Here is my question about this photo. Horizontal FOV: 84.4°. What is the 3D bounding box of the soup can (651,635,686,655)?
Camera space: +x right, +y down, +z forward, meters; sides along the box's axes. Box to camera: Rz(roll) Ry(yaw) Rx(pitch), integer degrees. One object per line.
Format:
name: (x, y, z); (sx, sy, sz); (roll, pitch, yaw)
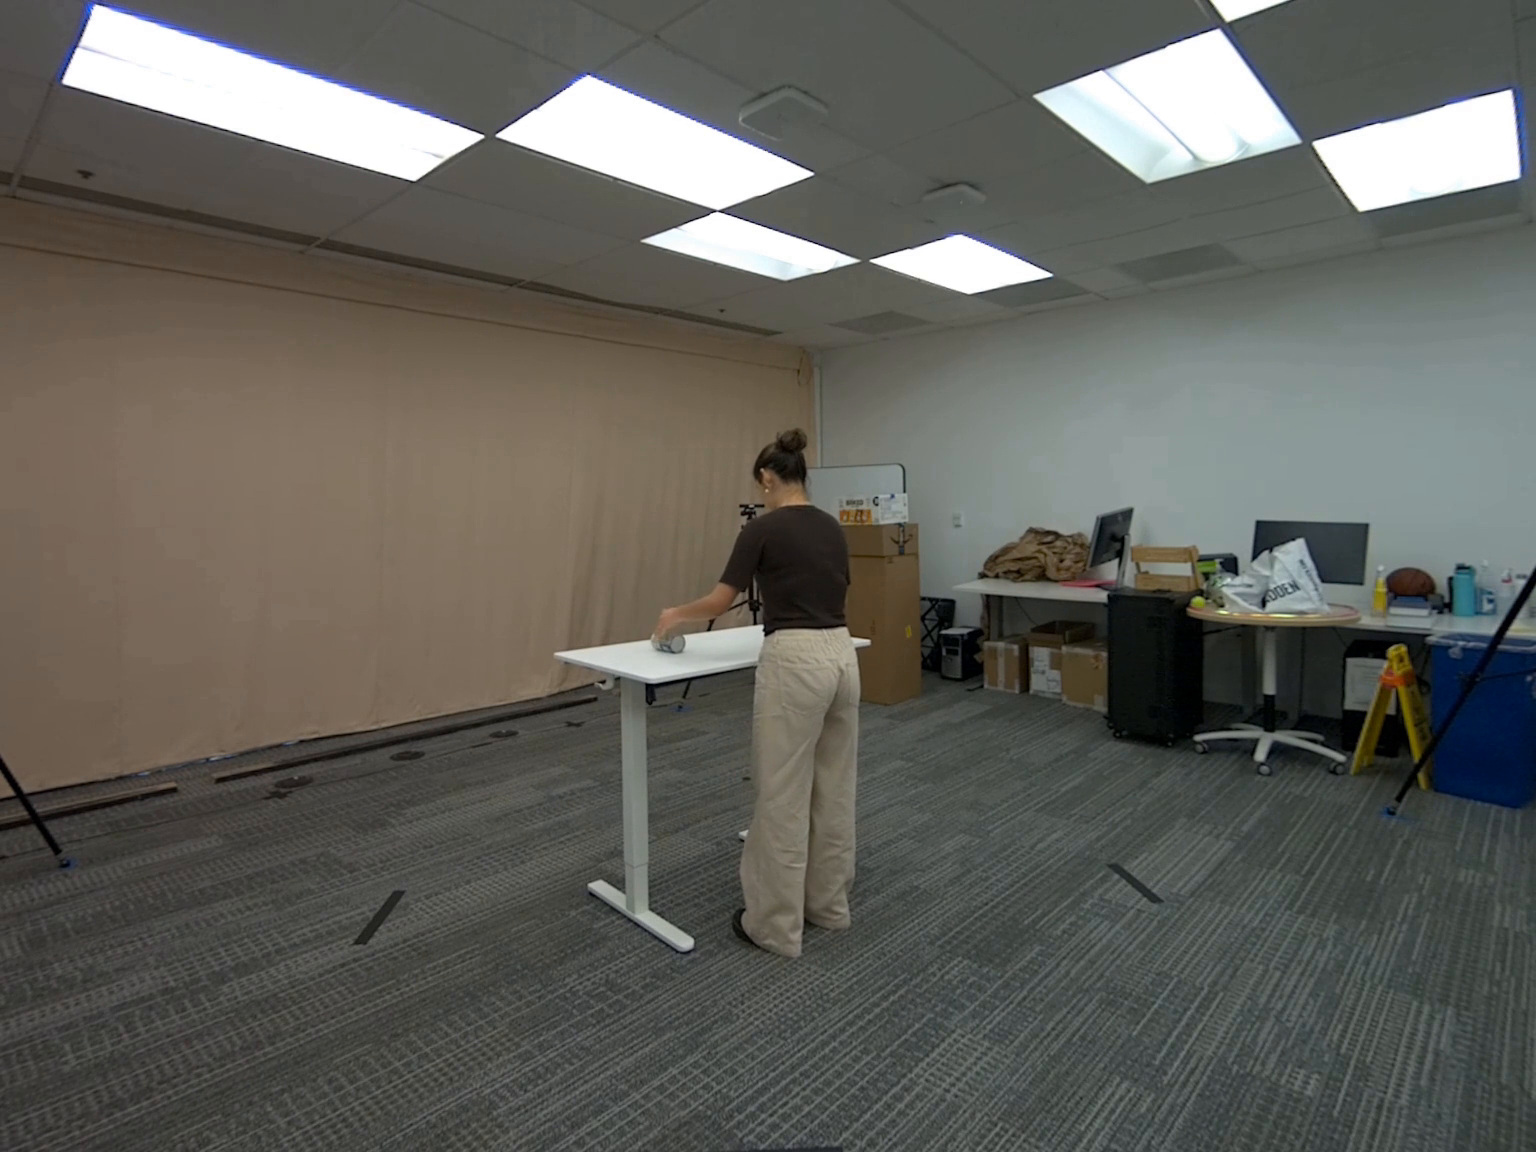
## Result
soup can: (-0.347, 0.233, 2.949); (0.065, 0.067, 0.126); (-4, 9, -41)
